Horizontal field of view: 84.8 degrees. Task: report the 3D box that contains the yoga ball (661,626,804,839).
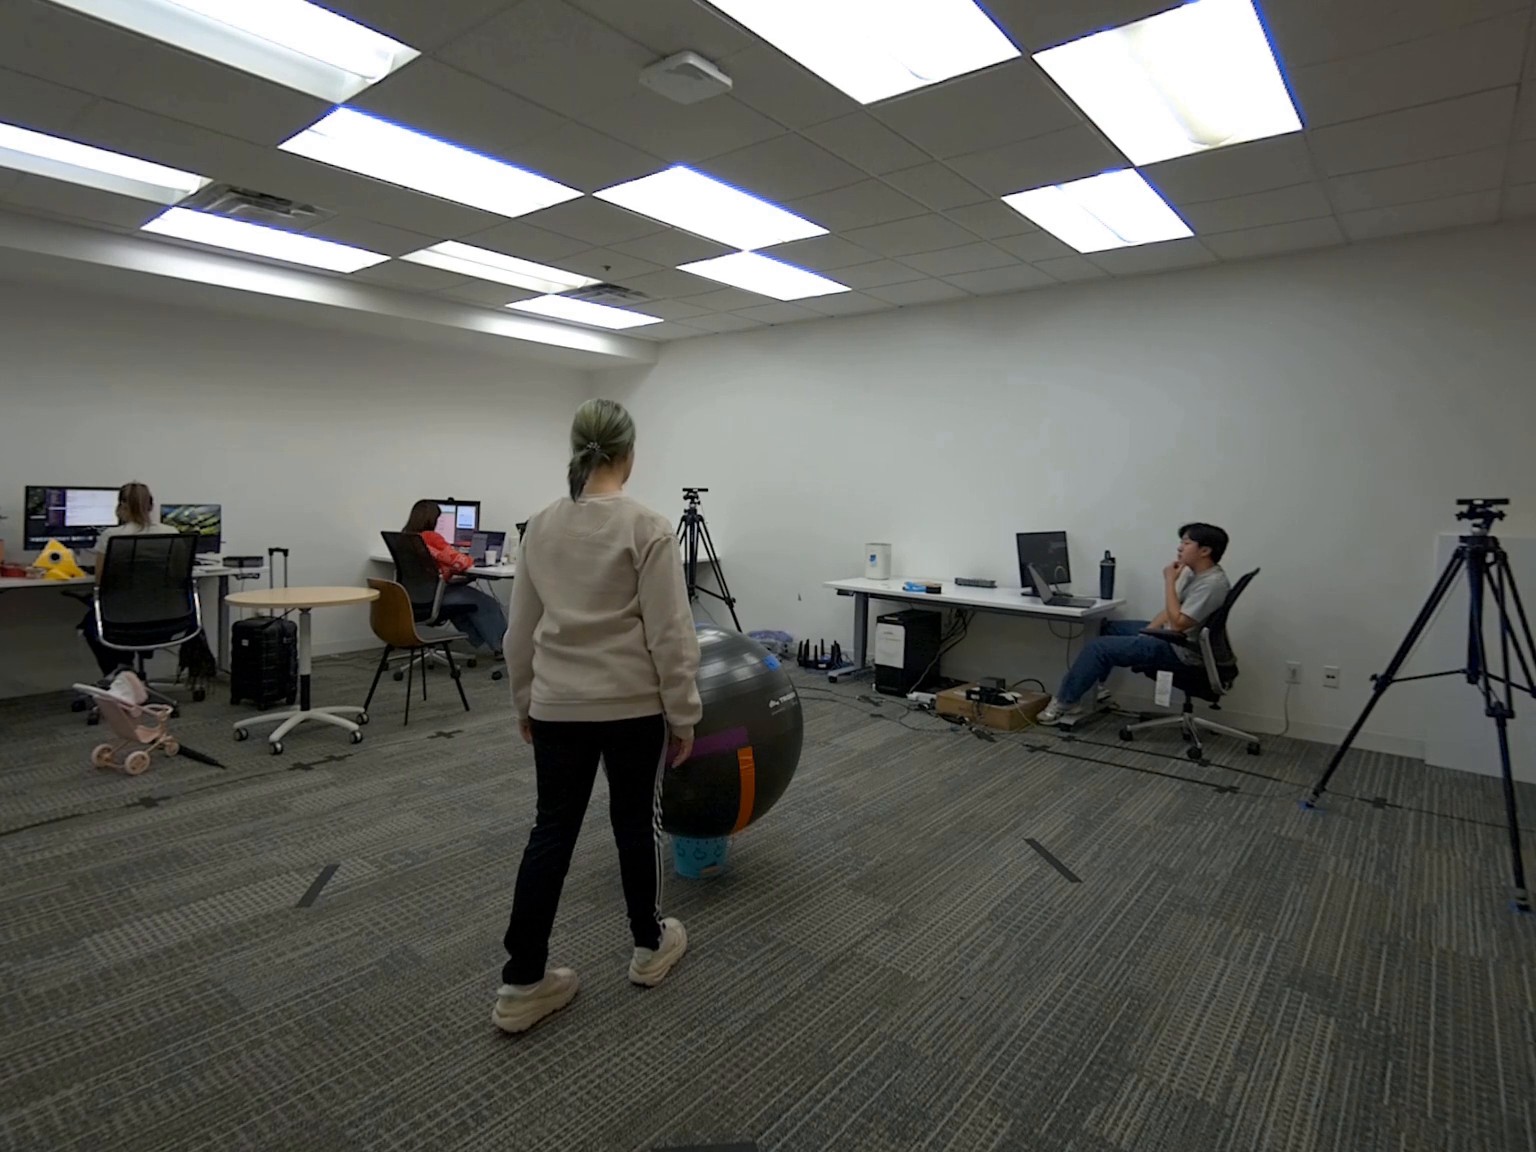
[{"bbox_3d":[-0.255,0.556,3.111,0.757,0.755,0.762,1,4,-2],"label":"yoga ball"}]
